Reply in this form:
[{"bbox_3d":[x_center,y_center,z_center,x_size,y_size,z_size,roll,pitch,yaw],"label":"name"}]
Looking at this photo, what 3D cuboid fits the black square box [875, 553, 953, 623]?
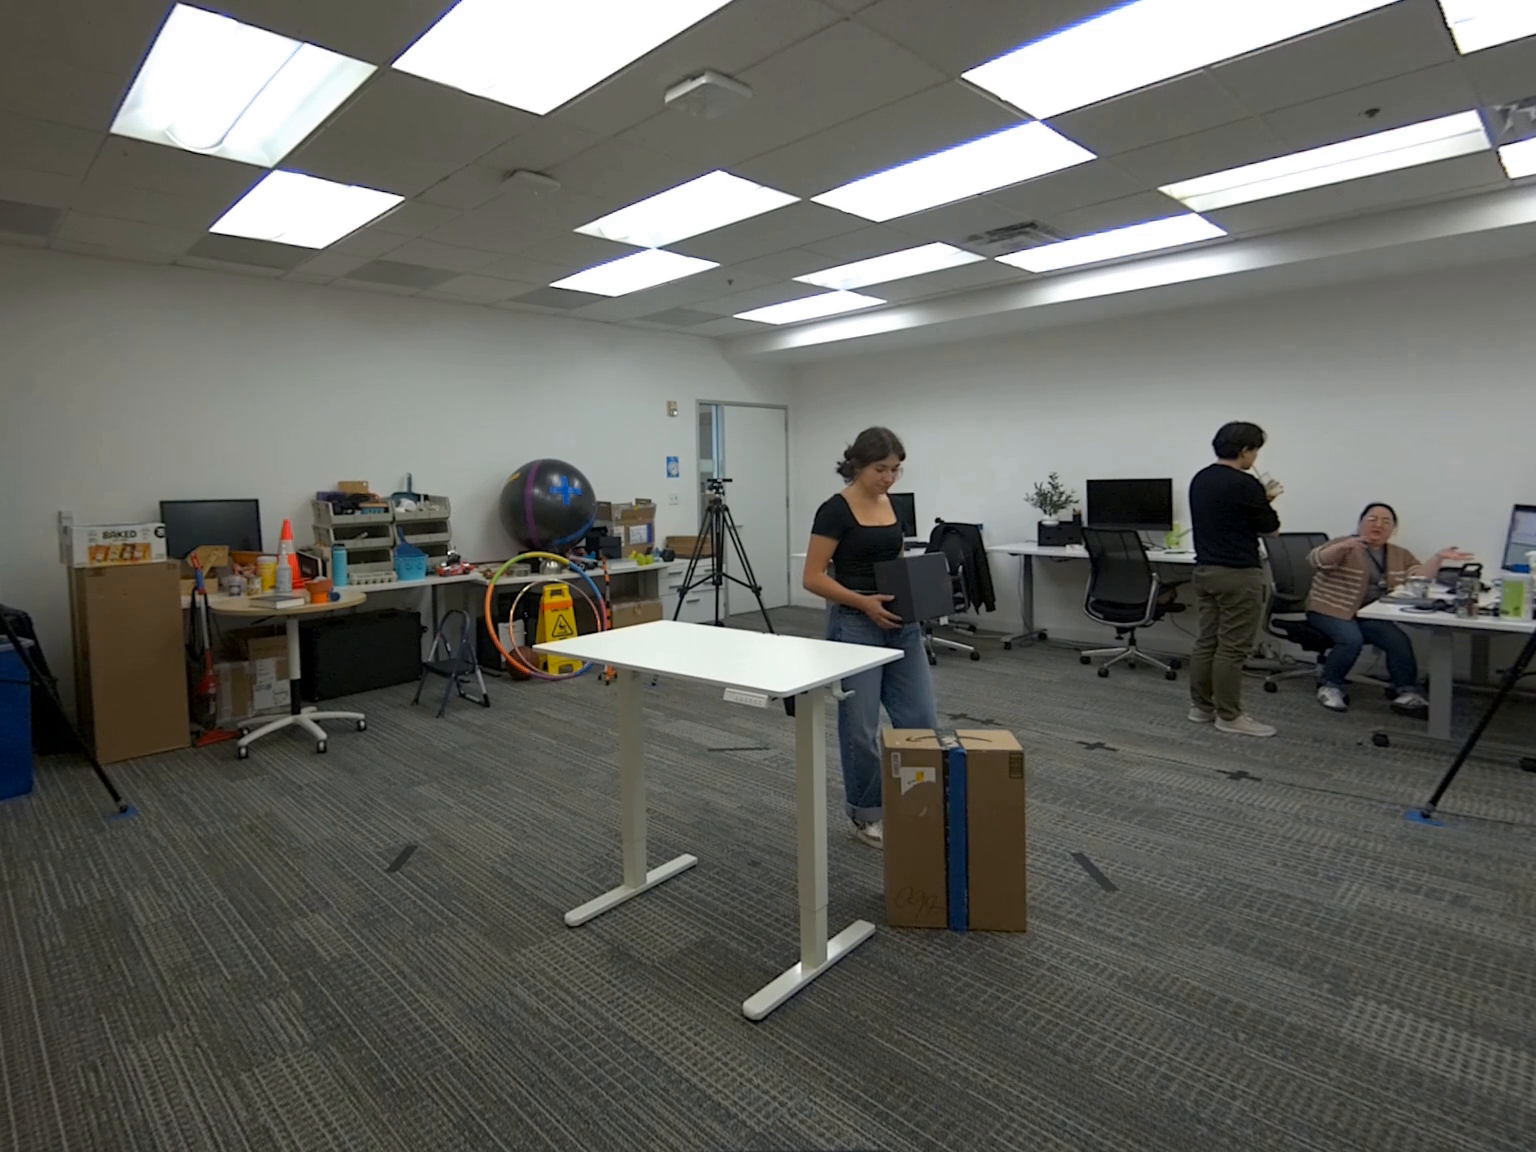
[{"bbox_3d":[0.512,0.043,3.049,0.211,0.228,0.159,-6,-2,-38],"label":"black square box"}]
